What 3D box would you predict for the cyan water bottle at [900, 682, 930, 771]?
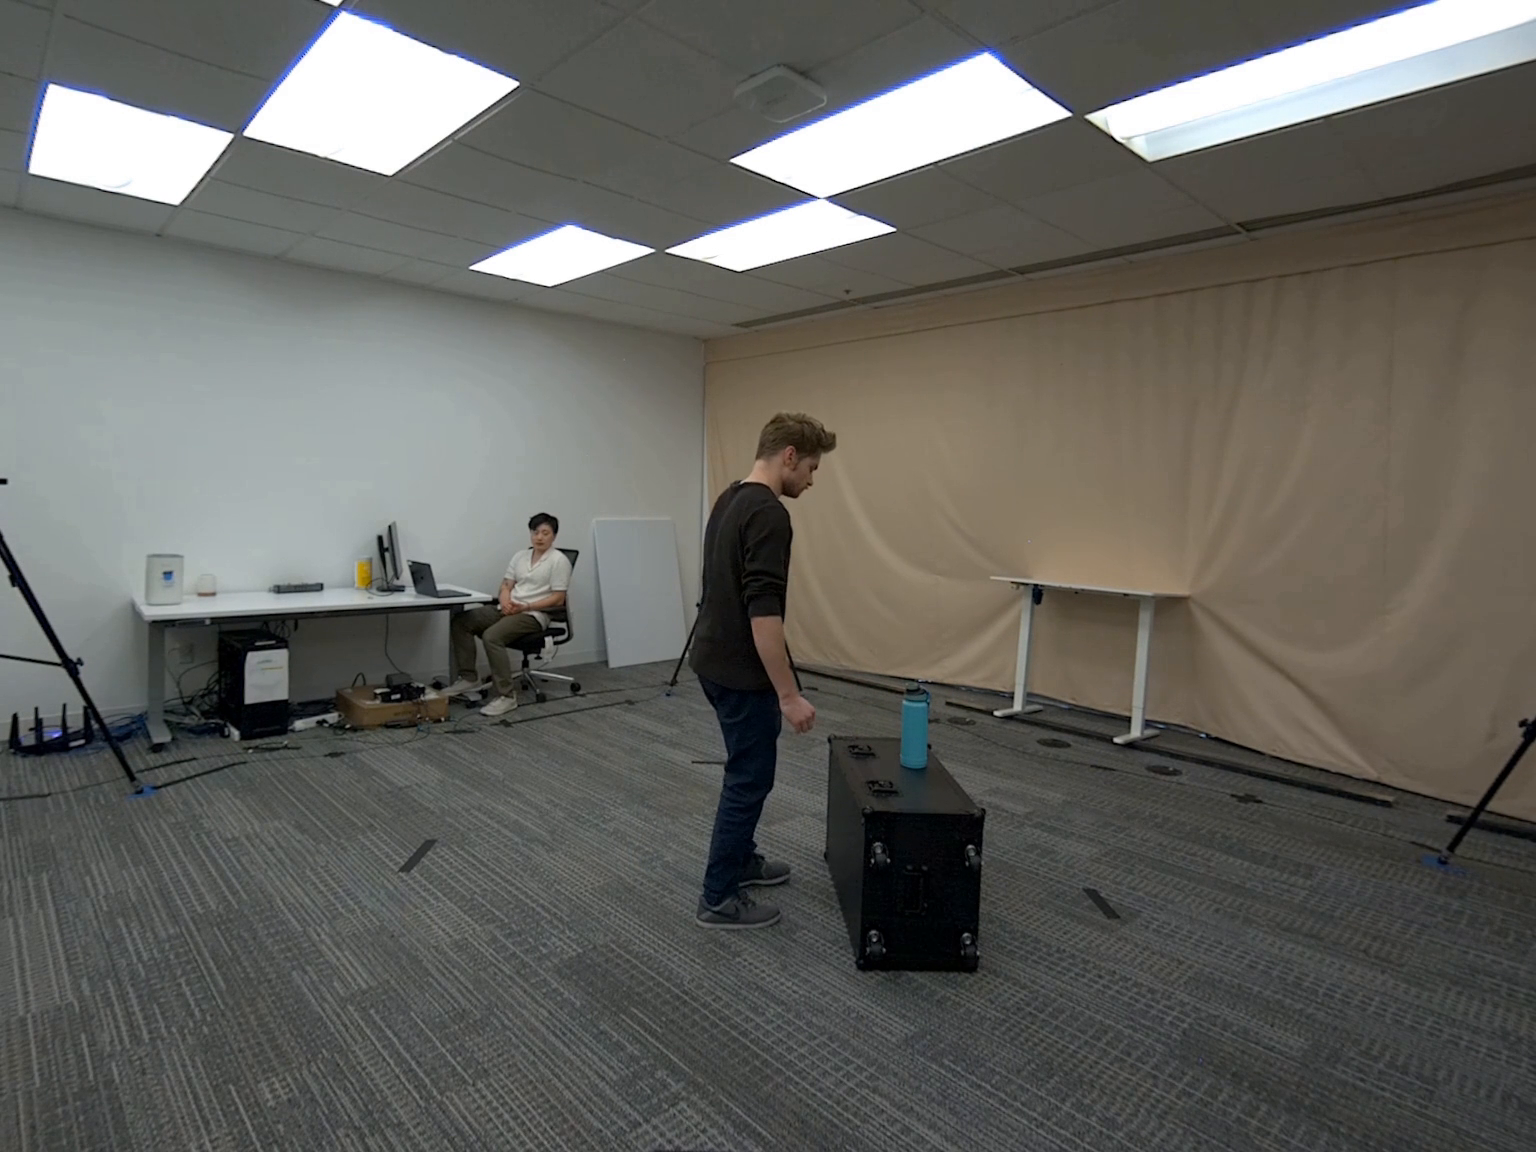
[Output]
[{"bbox_3d":[0.504,0.513,2.923,0.092,0.283,0.092,3,2,-2],"label":"cyan water bottle"}]
